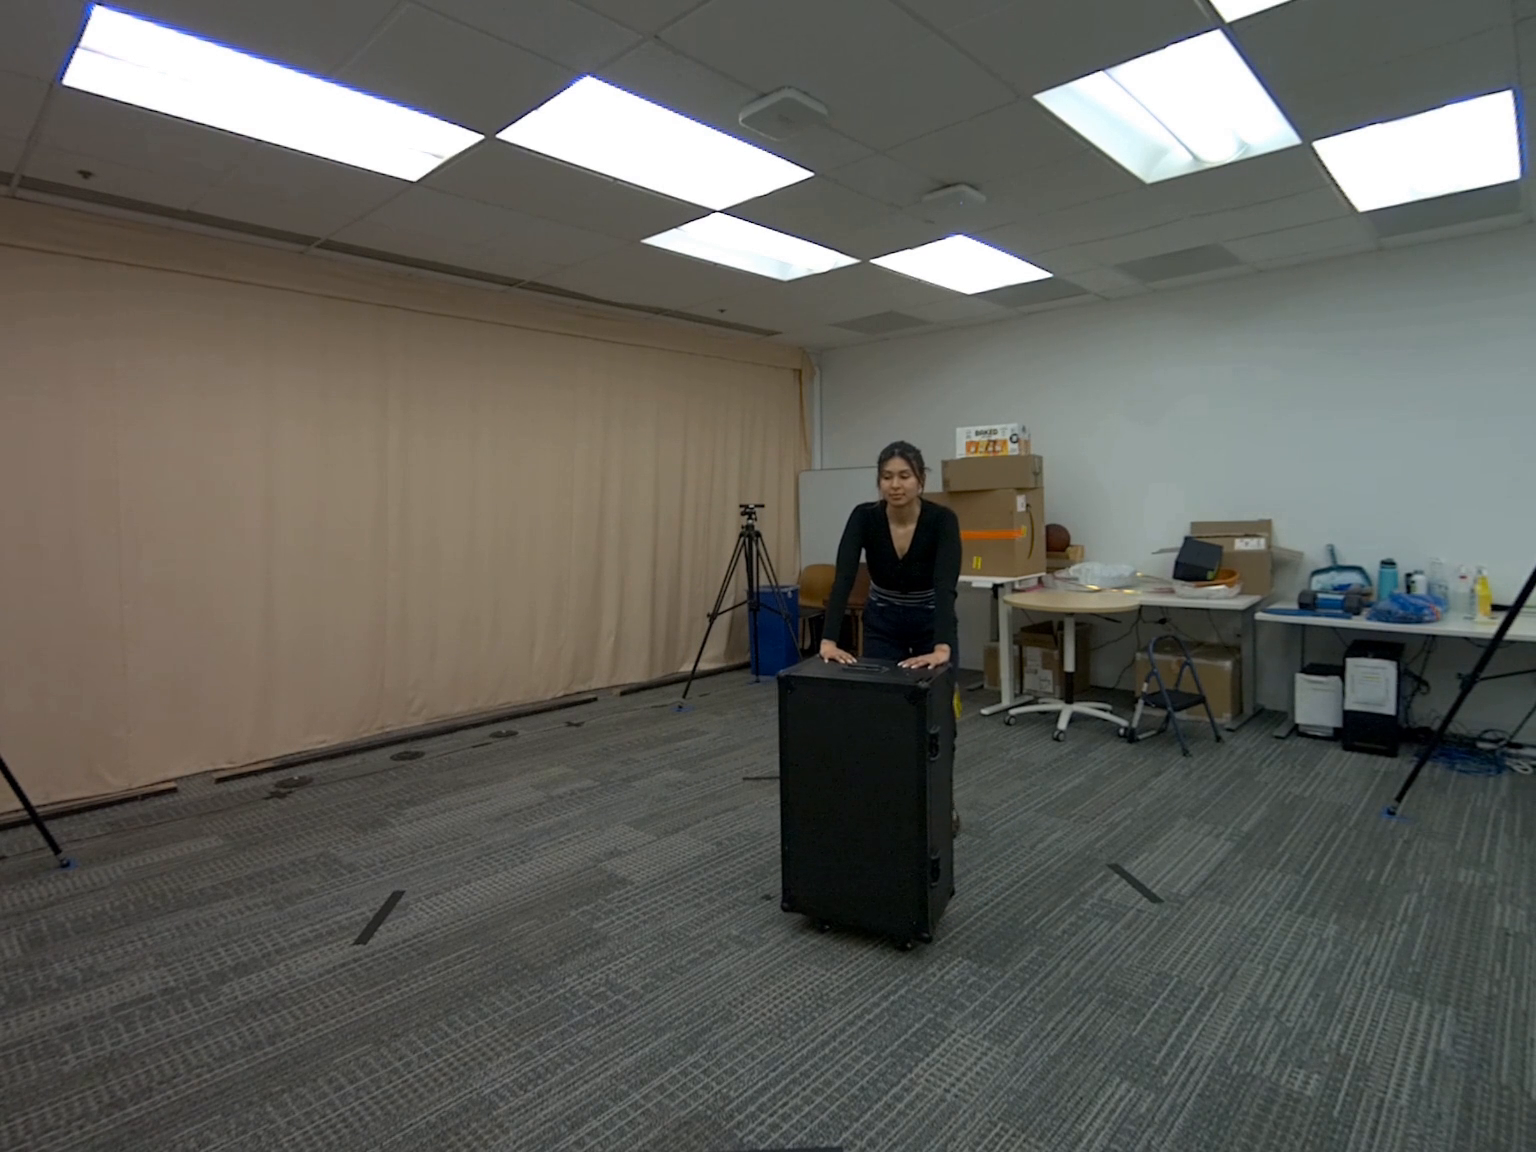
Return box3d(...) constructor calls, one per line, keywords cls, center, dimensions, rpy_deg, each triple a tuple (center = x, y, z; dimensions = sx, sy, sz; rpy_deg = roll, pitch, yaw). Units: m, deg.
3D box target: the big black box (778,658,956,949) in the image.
box3d(cls="big black box", center=(0.330, 0.726, 2.779), dimensions=(0.535, 0.860, 0.386), rpy_deg=(1, 3, 27))
